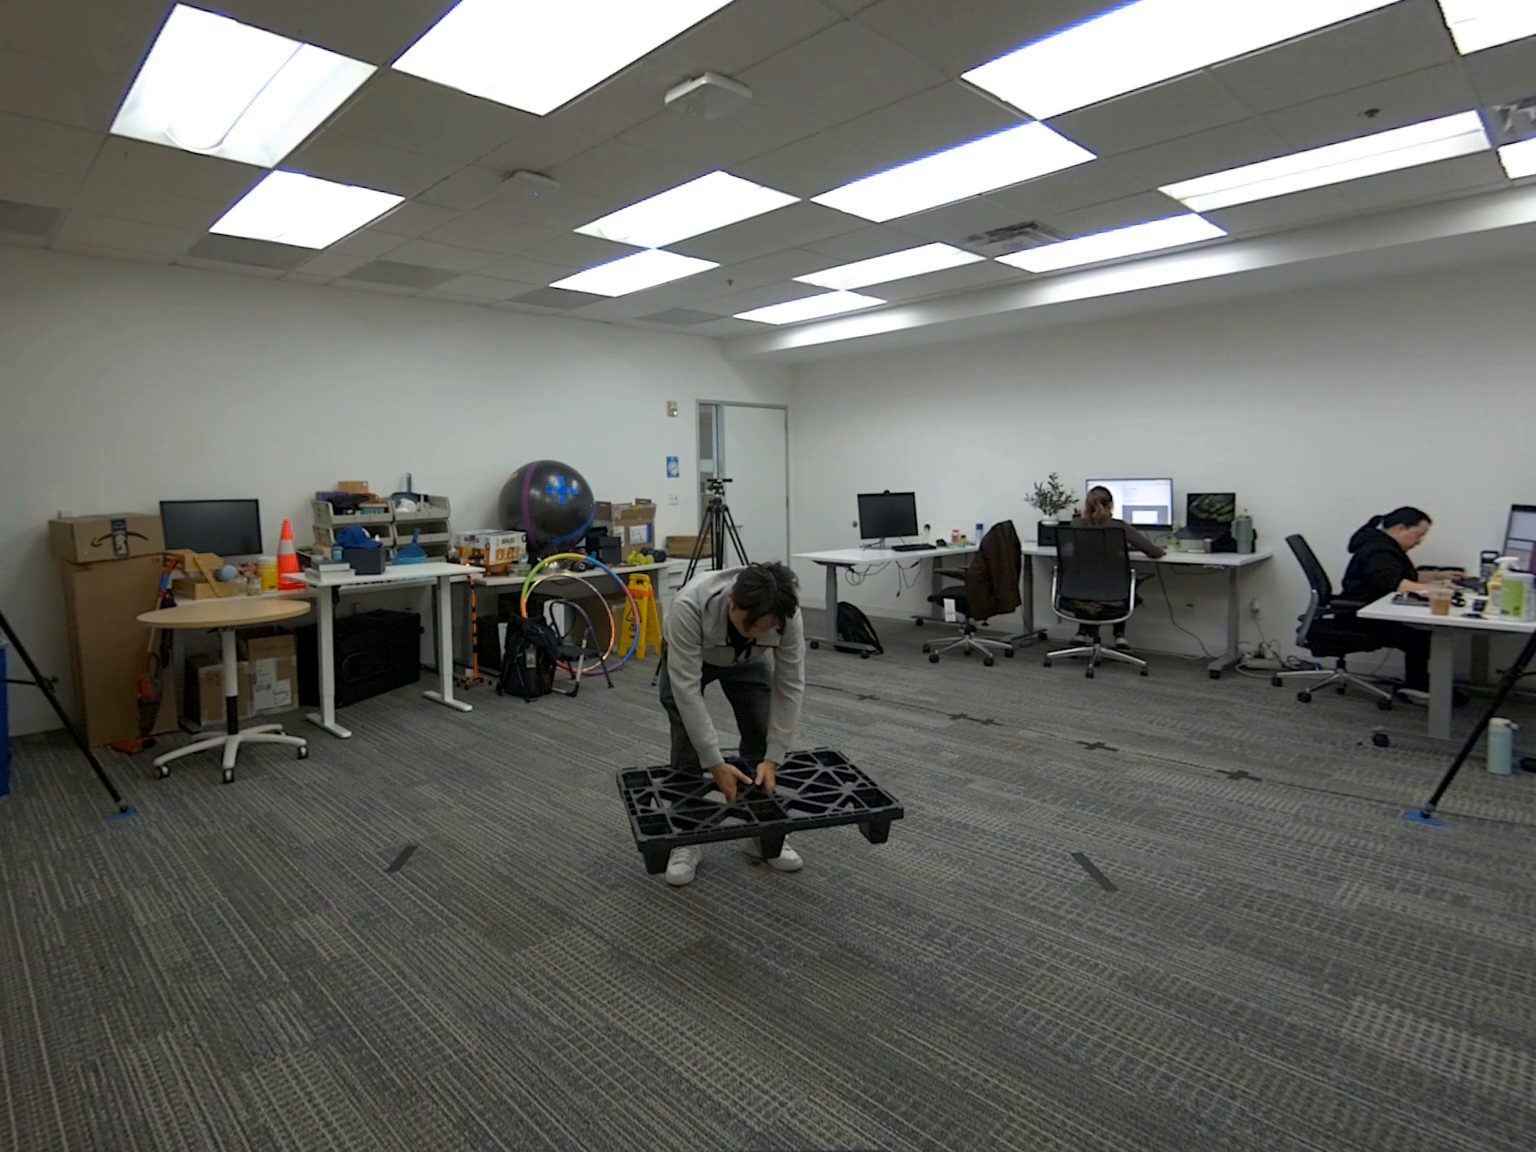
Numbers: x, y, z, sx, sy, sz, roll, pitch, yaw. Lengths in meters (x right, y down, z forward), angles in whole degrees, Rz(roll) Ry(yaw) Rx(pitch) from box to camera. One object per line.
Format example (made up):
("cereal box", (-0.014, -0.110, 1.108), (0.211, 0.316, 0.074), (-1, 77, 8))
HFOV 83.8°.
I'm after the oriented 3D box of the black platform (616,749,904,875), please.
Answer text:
("black platform", (-0.051, 0.743, 2.729), (0.796, 0.142, 0.616), (-3, 8, -13))
